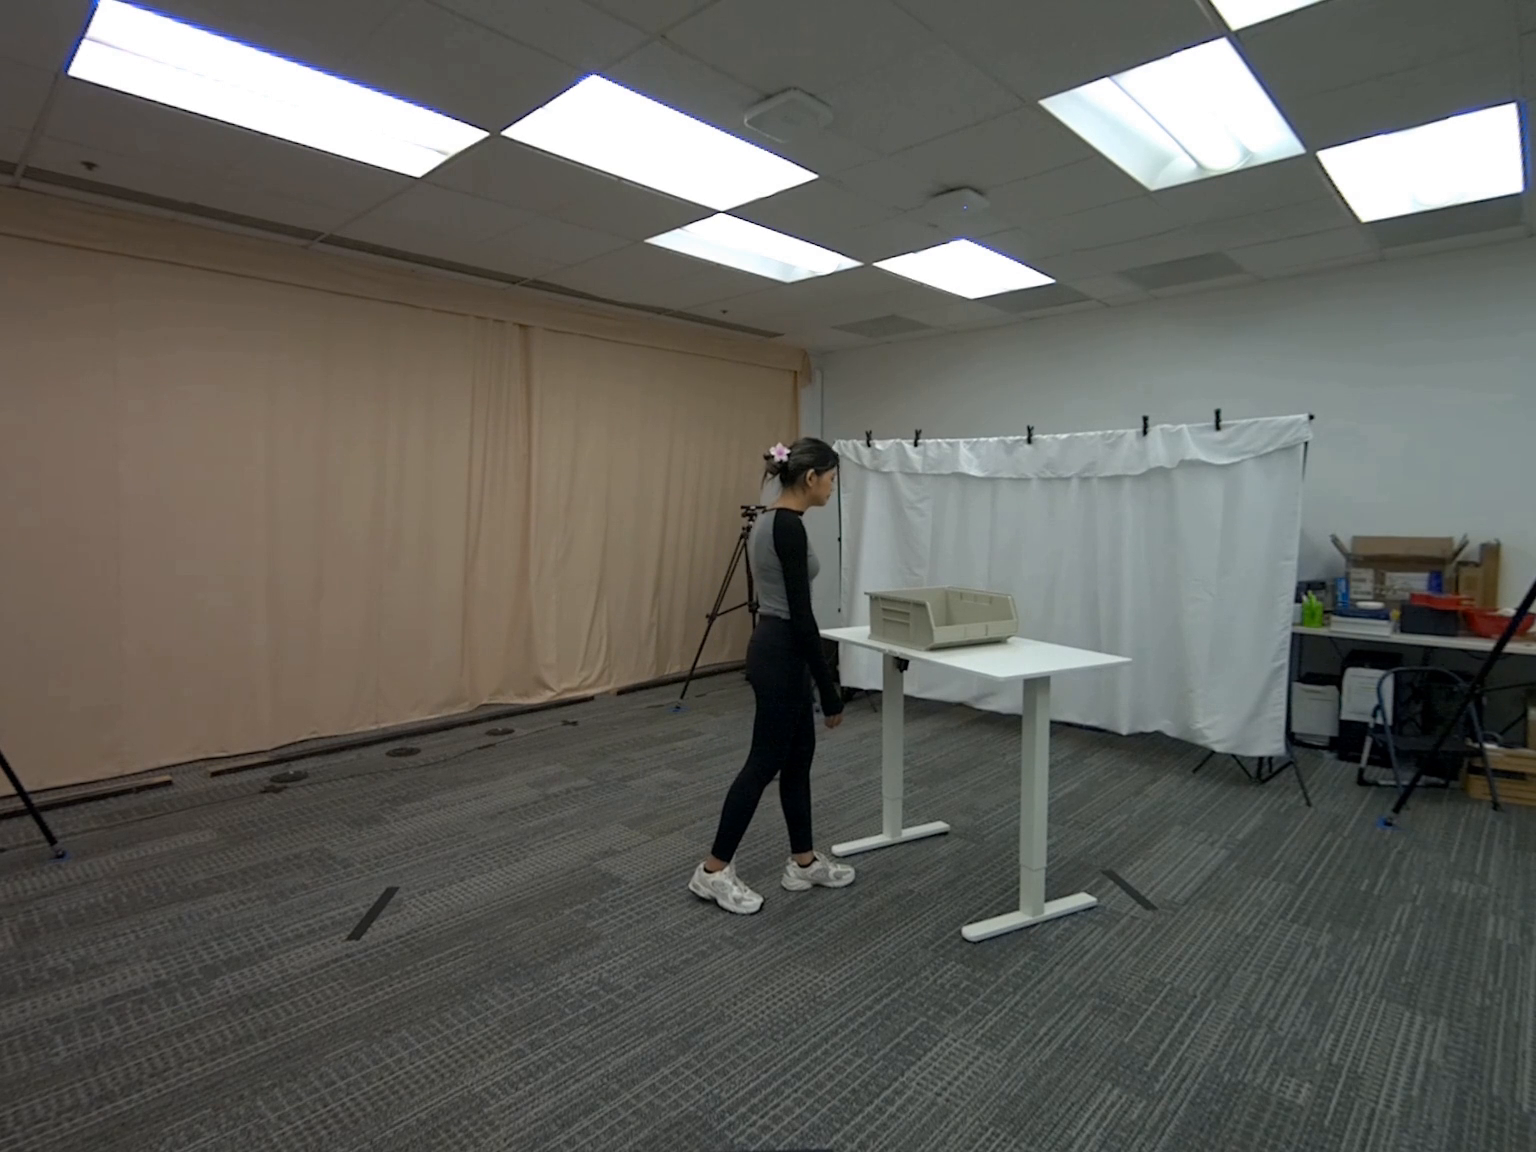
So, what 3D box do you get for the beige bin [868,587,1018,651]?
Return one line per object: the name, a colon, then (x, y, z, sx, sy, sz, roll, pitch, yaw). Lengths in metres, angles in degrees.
beige bin: (0.659, 0.161, 3.144, 0.411, 0.188, 0.388, -4, 6, -31)
